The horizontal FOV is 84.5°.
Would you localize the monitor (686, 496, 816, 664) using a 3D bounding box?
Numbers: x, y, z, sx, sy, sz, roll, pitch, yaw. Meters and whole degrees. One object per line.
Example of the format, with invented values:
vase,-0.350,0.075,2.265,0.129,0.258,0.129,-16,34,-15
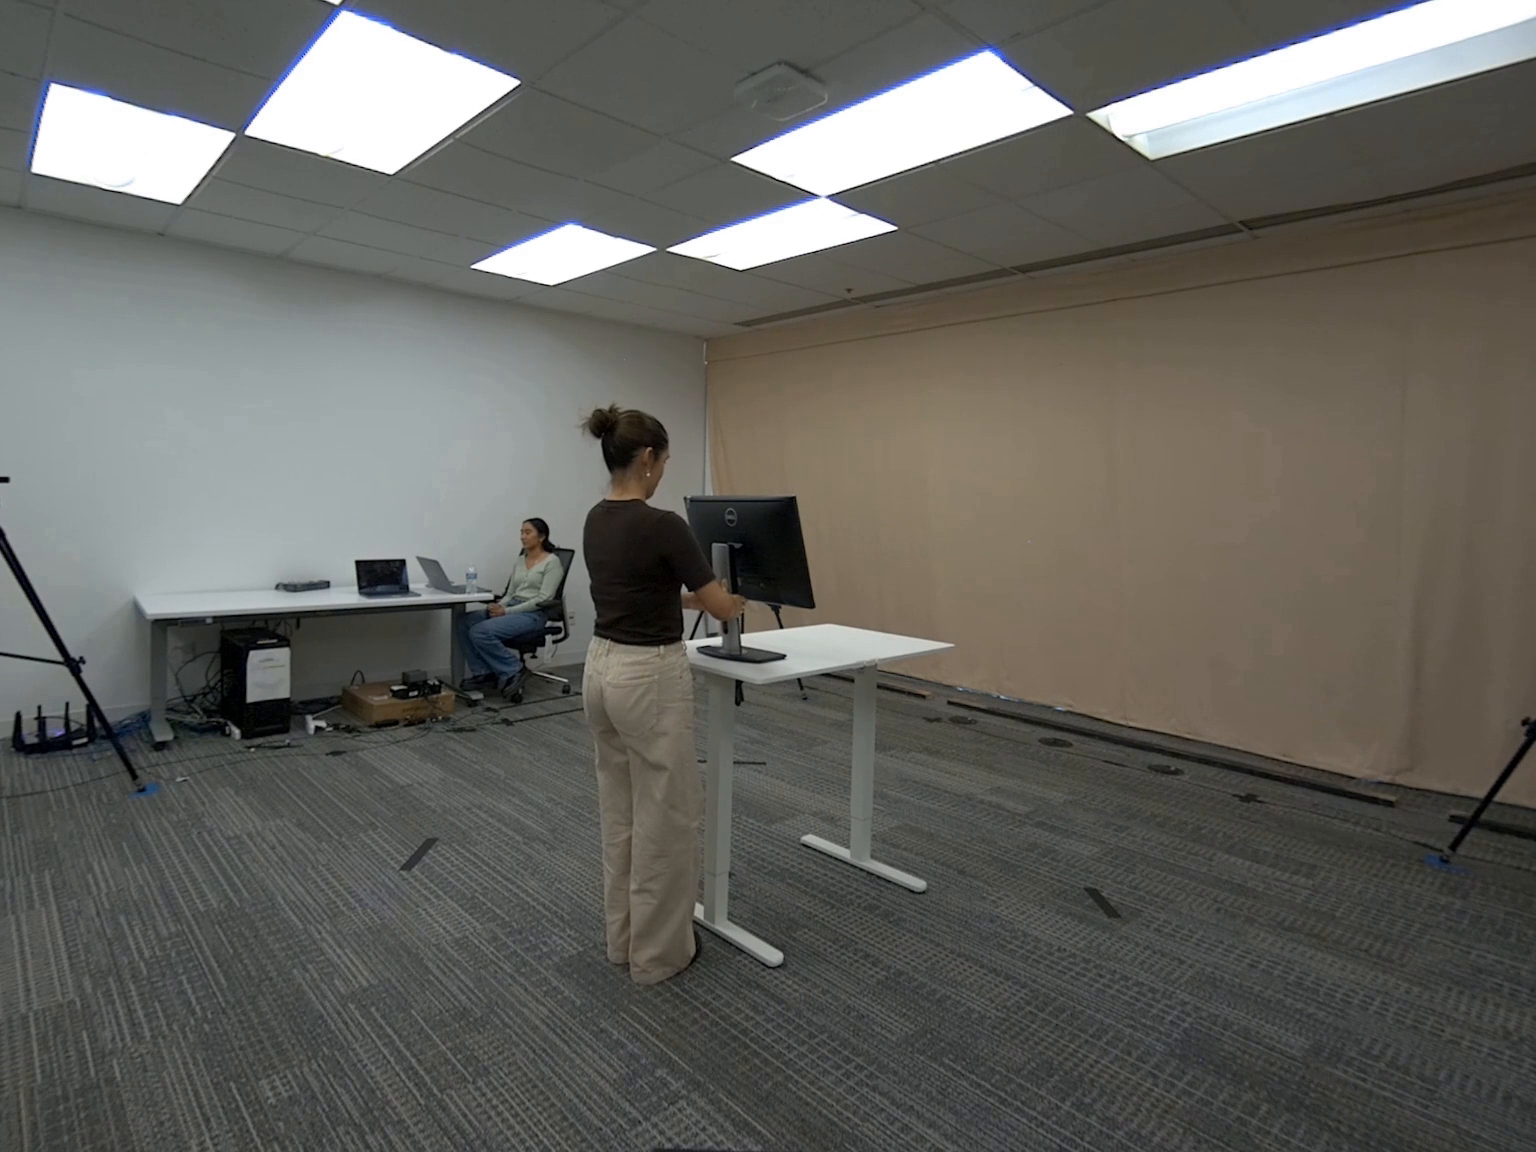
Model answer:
monitor,-0.097,0.007,2.683,0.183,0.521,0.553,-4,5,-43
